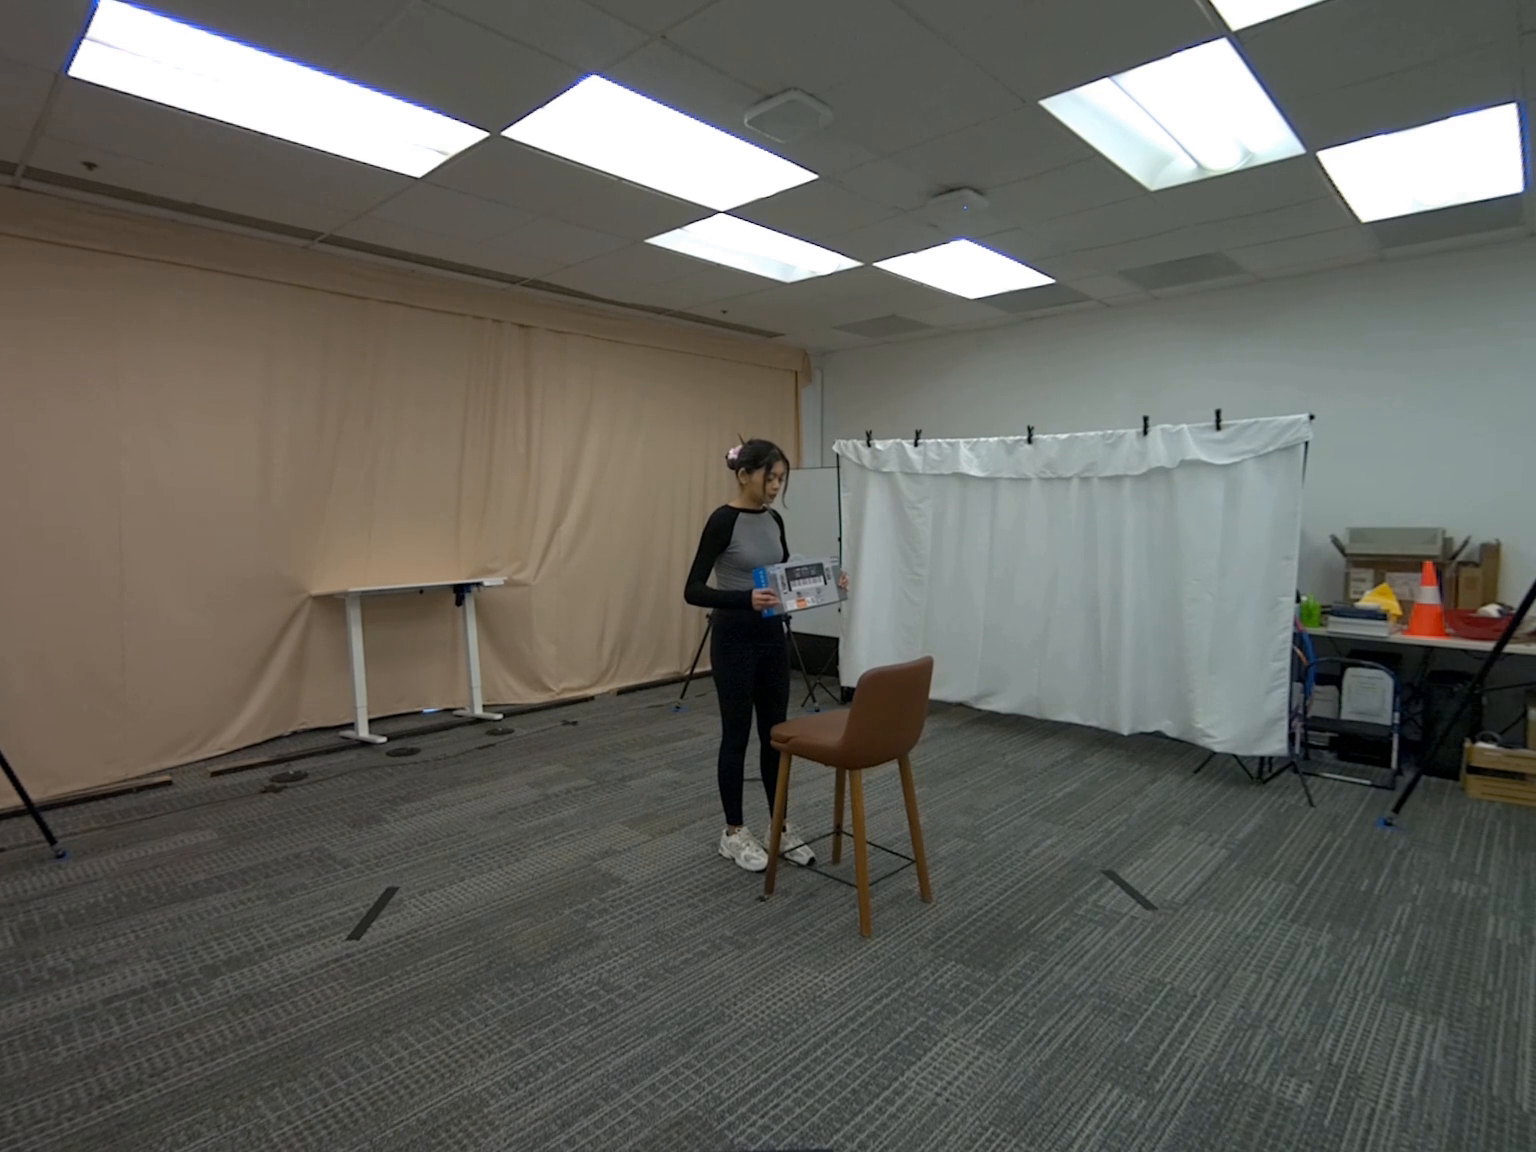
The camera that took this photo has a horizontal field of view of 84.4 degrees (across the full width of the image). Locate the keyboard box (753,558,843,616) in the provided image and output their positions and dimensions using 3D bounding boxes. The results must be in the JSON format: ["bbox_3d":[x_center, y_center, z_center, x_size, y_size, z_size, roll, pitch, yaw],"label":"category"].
[{"bbox_3d":[0.125,0.036,3.080,0.060,0.177,0.424,-17,-6,43],"label":"keyboard box"}]
